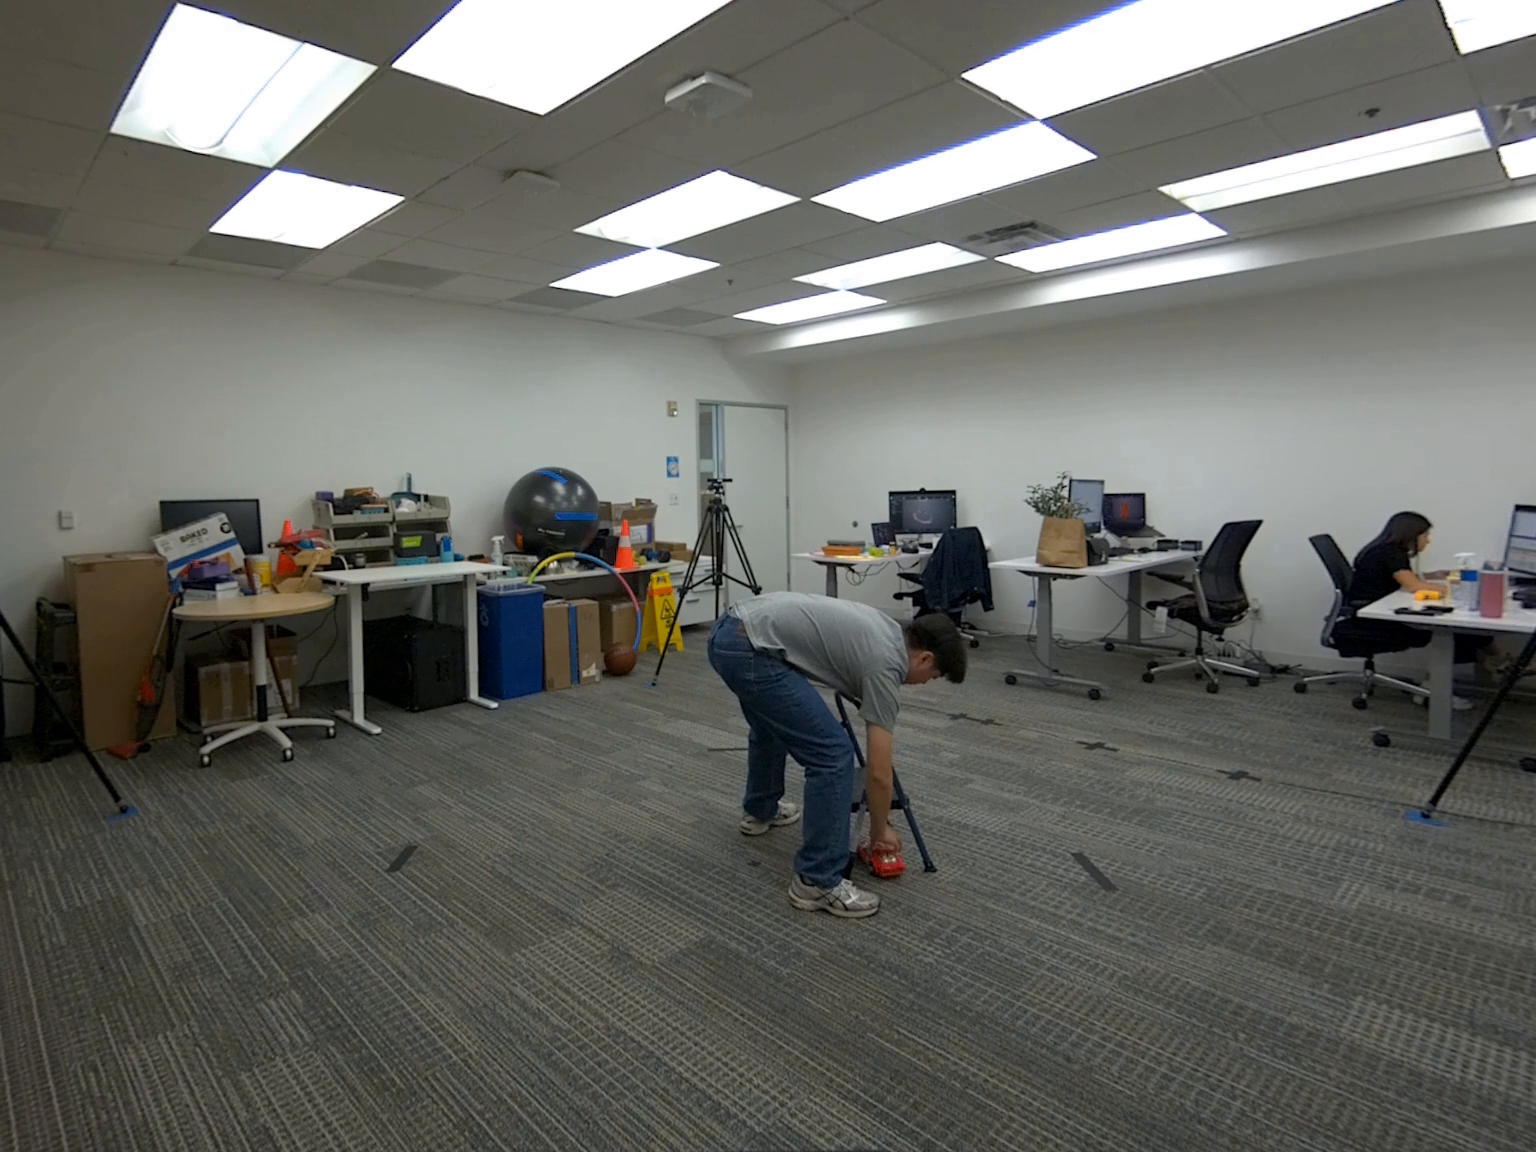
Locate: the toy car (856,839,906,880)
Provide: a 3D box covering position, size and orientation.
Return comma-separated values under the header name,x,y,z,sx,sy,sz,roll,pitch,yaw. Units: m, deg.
name,x,y,z,sx,sy,sz,roll,pitch,yaw
toy car,0.411,1.020,3.032,0.129,0.083,0.256,-1,-3,-13
